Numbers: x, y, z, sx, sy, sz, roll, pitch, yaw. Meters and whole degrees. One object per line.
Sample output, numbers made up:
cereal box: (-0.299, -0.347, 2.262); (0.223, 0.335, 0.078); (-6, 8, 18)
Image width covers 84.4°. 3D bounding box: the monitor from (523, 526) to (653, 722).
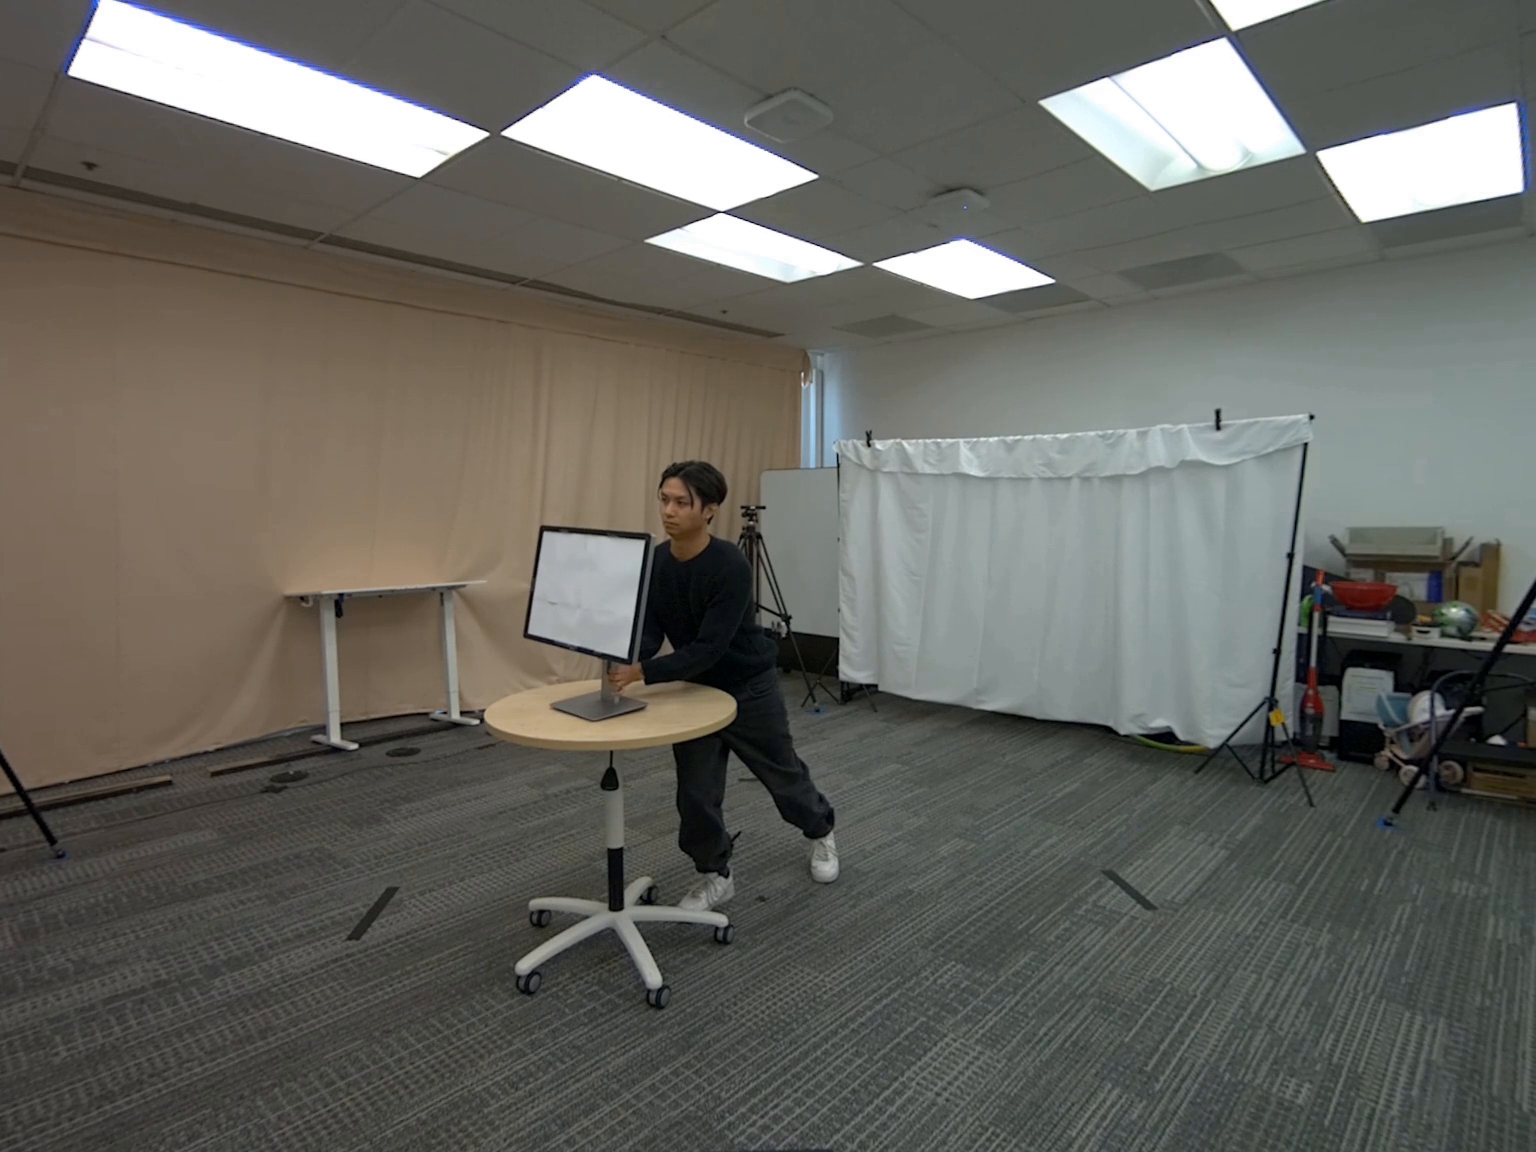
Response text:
monitor: (-0.518, 0.129, 2.529); (0.548, 0.512, 0.170); (7, 14, 43)
